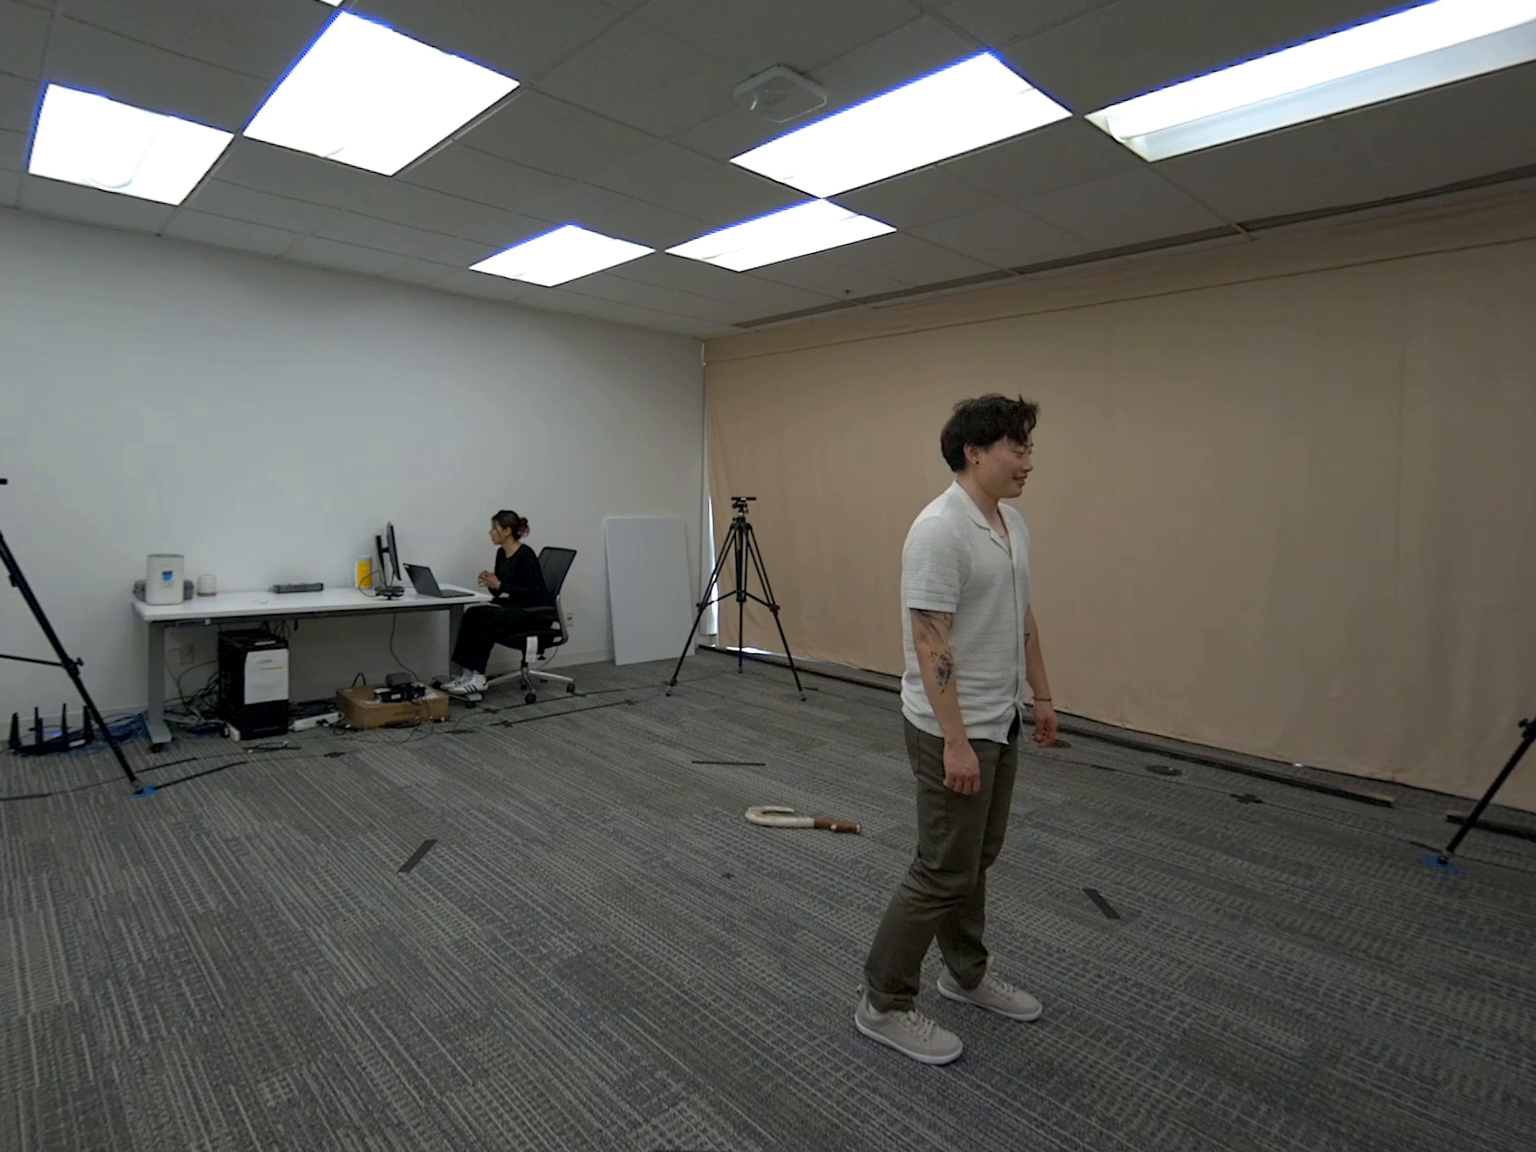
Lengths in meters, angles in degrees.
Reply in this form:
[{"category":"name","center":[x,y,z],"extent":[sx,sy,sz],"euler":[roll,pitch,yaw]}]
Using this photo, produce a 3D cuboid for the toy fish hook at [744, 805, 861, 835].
[{"category":"toy fish hook","center":[0.150,1.044,3.644],"extent":[0.512,0.048,0.223],"euler":[3,6,14]}]
